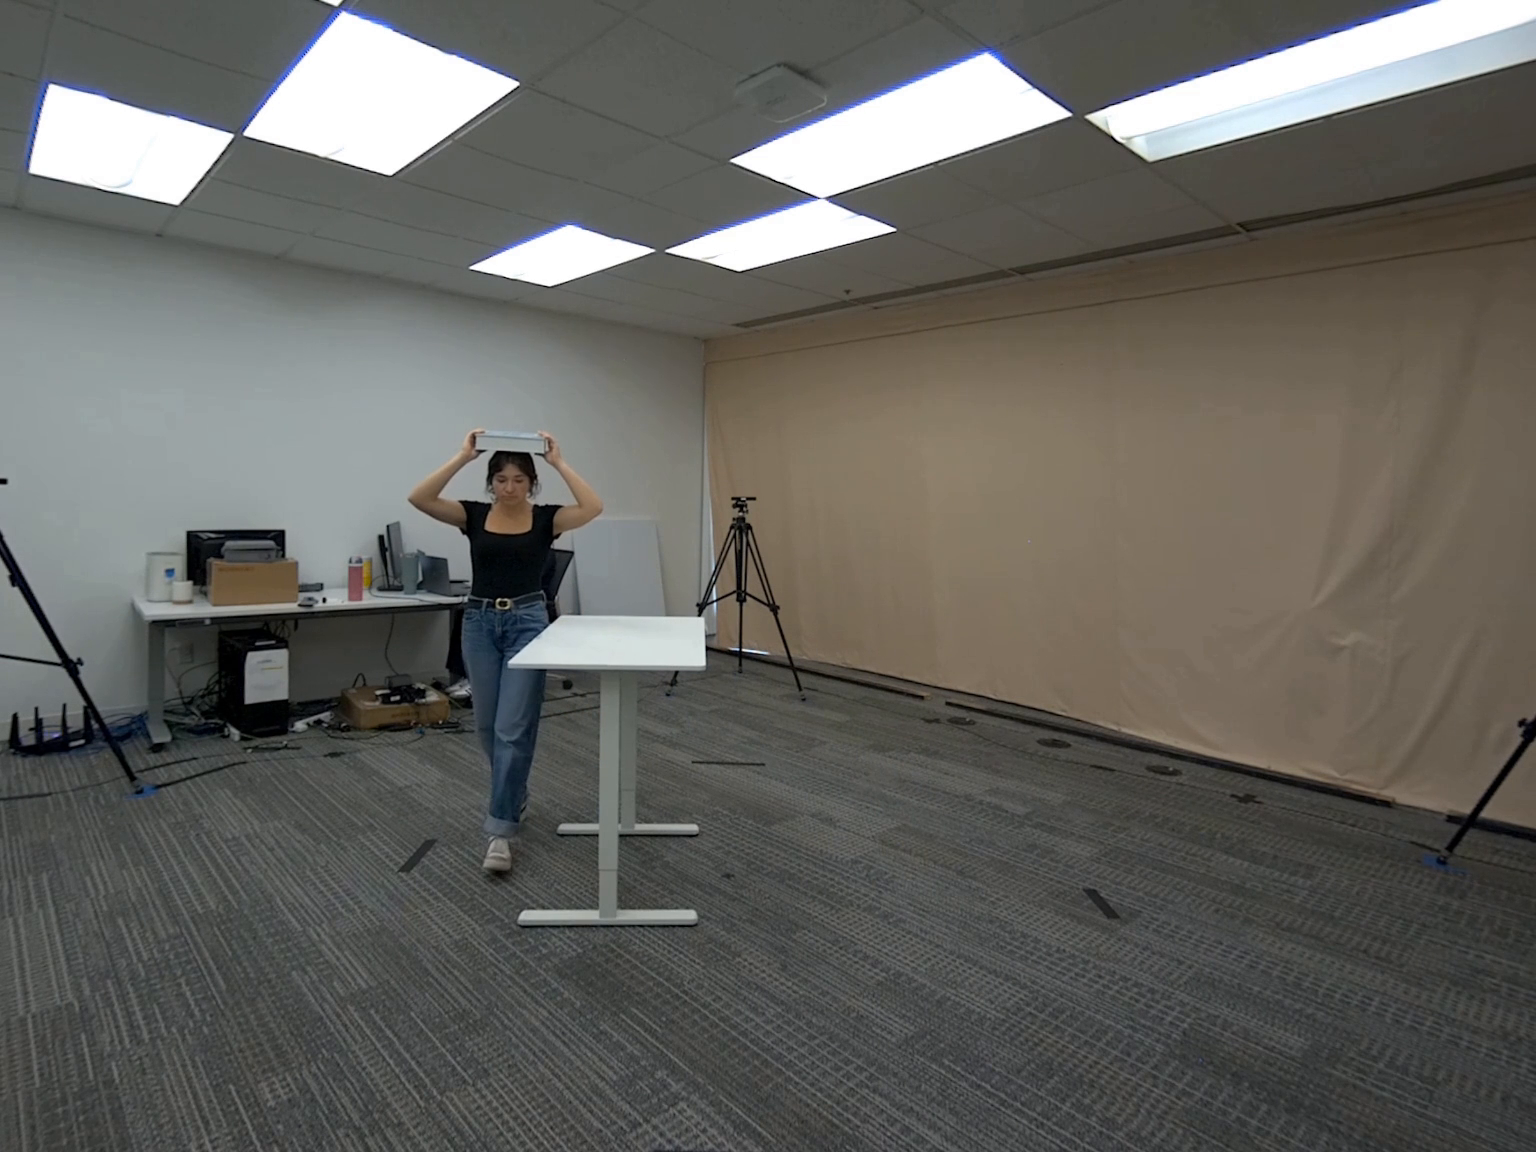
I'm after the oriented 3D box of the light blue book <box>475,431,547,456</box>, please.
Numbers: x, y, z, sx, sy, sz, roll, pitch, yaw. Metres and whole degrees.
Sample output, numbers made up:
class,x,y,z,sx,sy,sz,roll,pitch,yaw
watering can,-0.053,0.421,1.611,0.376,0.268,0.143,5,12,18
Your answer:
class,x,y,z,sx,sy,sz,roll,pitch,yaw
light blue book,-1.009,-0.533,3.294,0.259,0.058,0.194,2,11,-11
